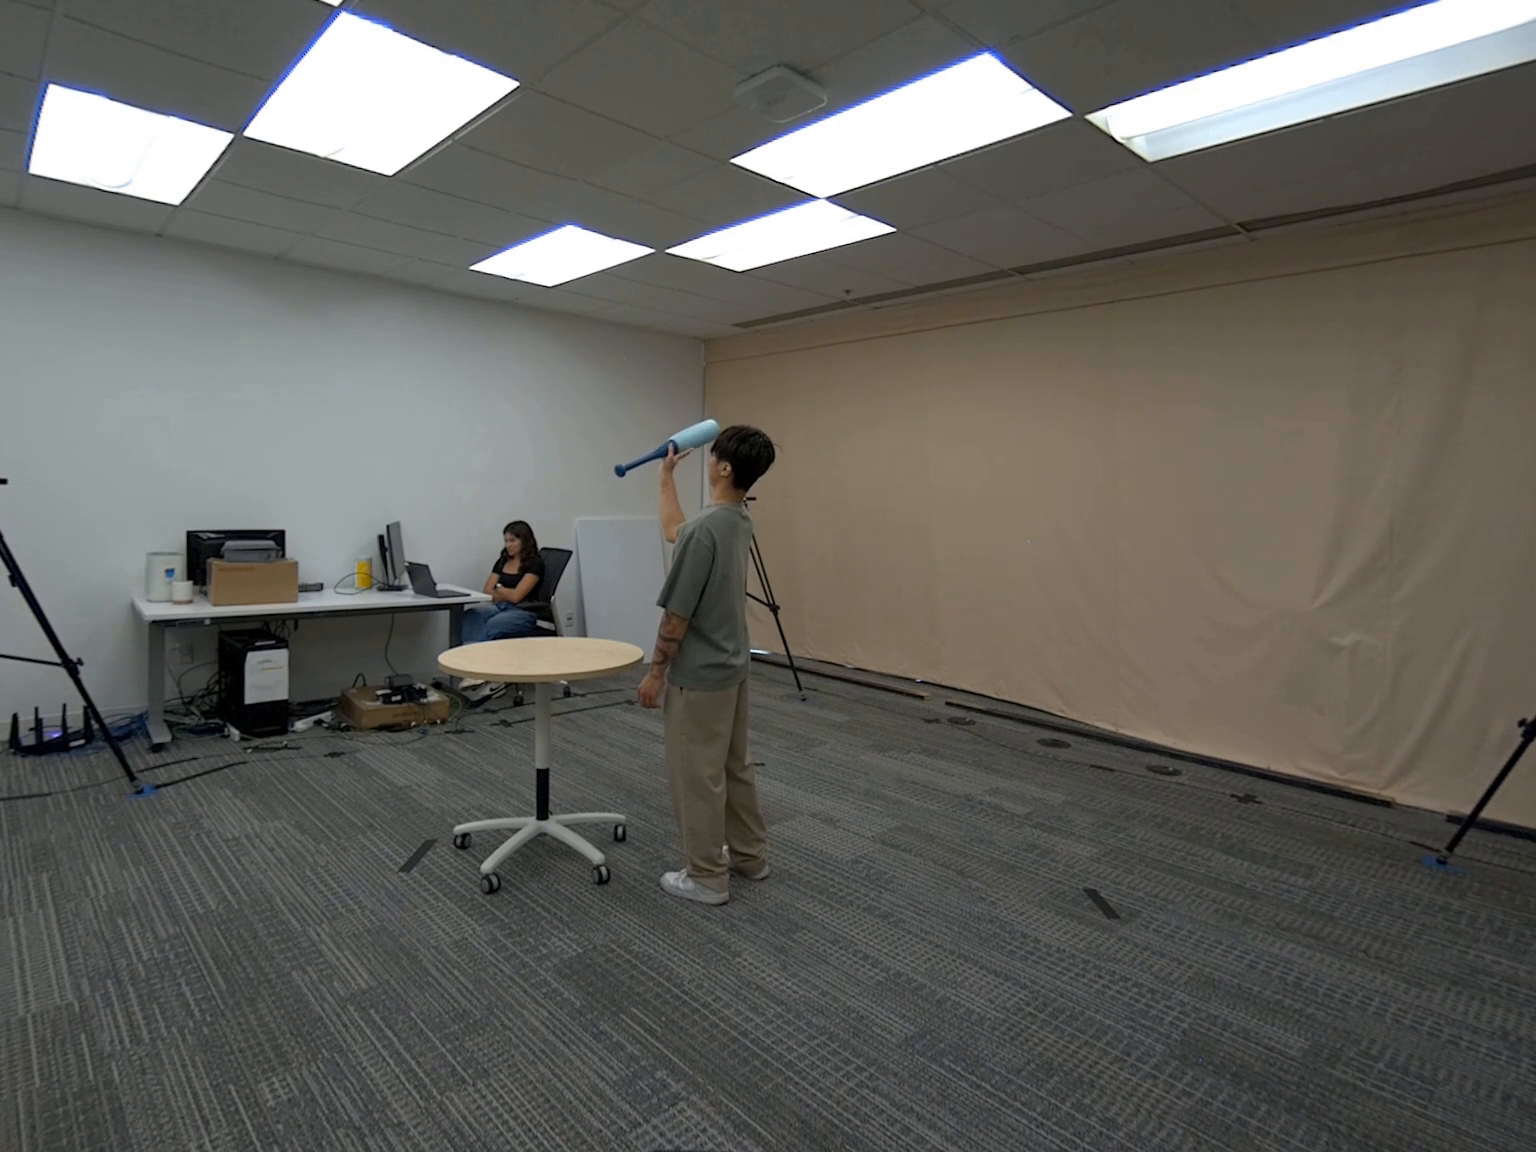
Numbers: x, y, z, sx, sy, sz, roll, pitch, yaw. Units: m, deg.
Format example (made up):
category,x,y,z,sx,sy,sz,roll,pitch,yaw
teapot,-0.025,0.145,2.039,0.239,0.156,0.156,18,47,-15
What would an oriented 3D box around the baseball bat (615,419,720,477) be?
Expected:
category,x,y,z,sx,sy,sz,roll,pitch,yaw
baseball bat,-0.397,-0.496,3.282,0.091,0.087,0.539,5,28,41
